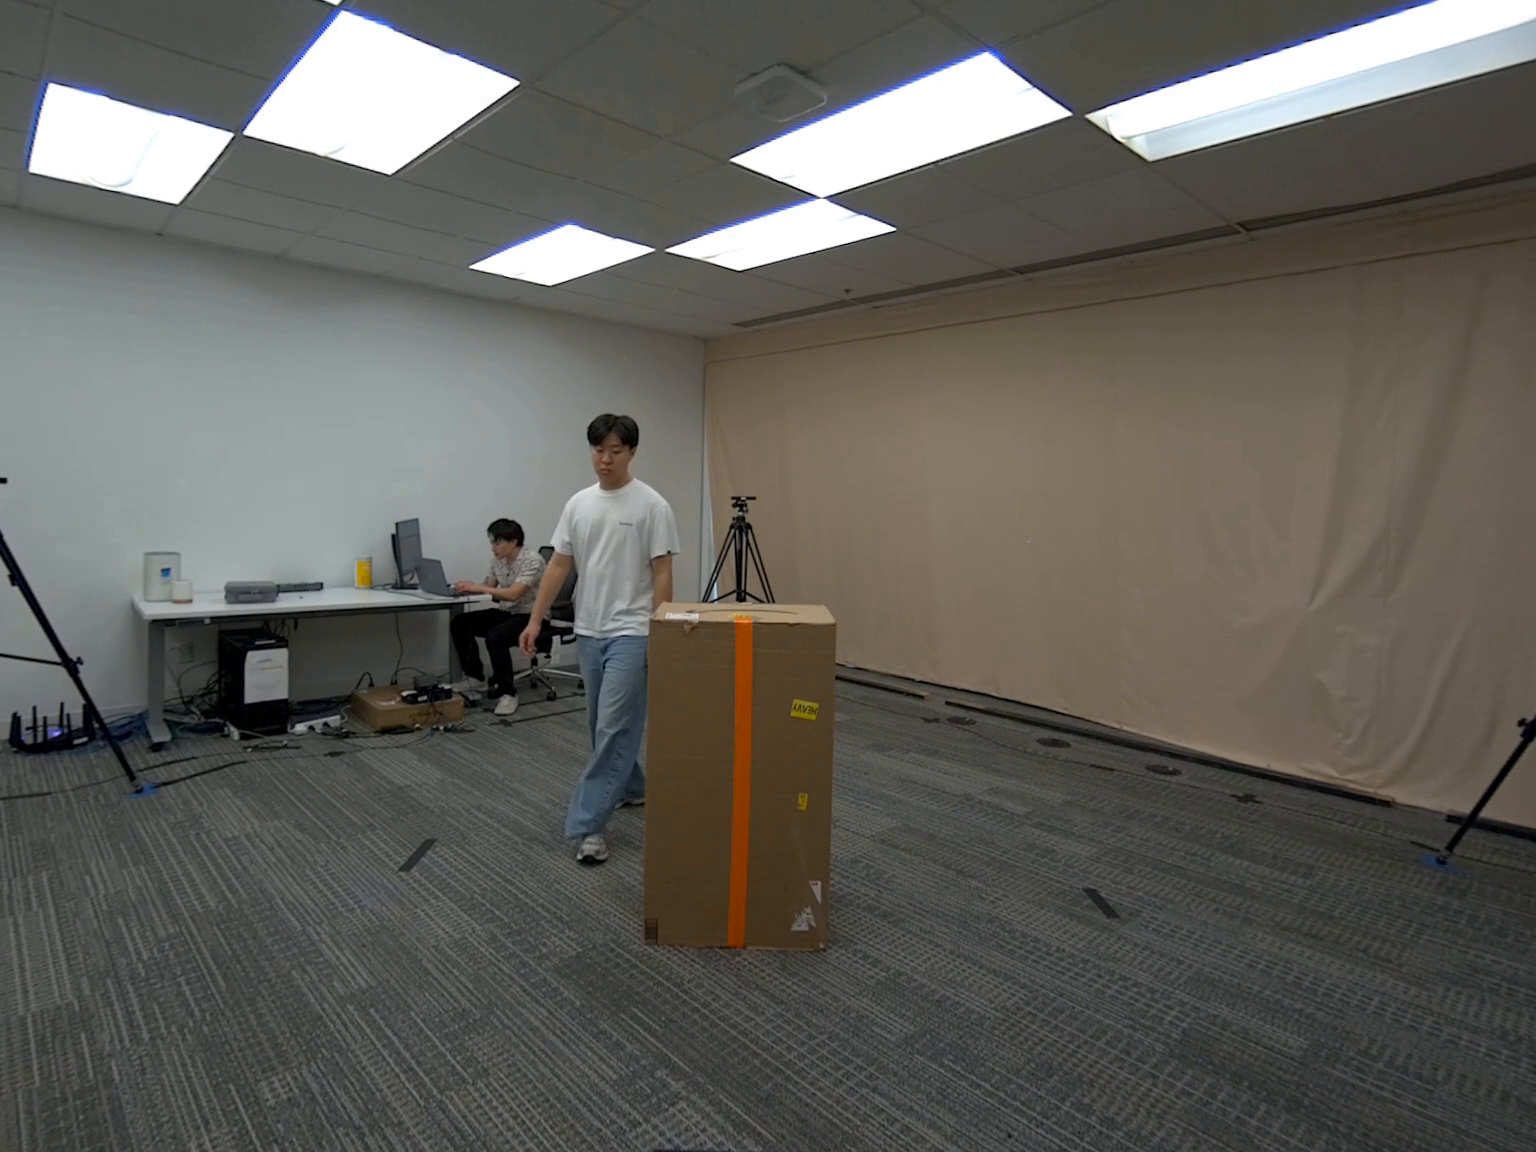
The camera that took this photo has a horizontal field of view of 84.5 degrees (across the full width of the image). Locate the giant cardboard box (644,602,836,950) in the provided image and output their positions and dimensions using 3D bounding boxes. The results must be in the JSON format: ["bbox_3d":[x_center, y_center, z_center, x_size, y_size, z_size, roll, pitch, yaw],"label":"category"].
[{"bbox_3d":[-0.101,0.629,2.783,0.578,1.023,0.427,2,3,0],"label":"giant cardboard box"}]
